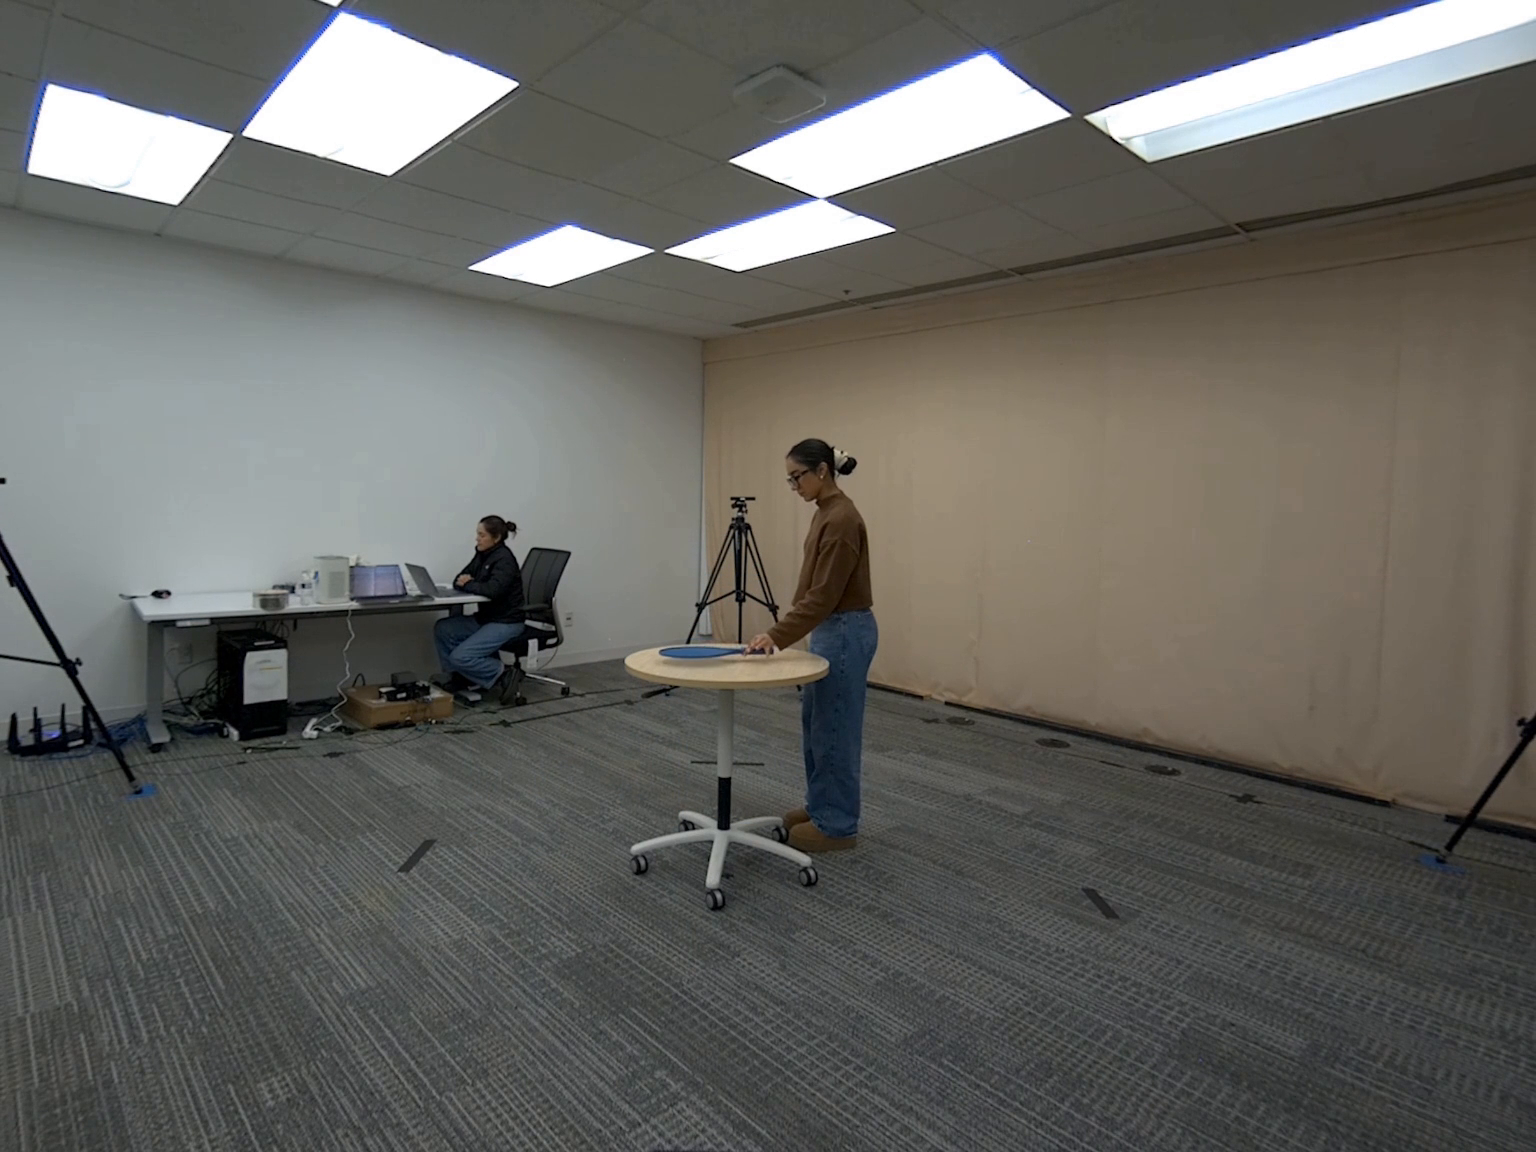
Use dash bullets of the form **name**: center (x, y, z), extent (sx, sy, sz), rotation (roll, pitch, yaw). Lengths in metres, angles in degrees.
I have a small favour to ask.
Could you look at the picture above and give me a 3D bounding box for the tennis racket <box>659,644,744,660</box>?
- **tennis racket**: center (-0.191, 0.280, 3.129), extent (0.429, 0.031, 0.216), rotation (0, 6, -11)
